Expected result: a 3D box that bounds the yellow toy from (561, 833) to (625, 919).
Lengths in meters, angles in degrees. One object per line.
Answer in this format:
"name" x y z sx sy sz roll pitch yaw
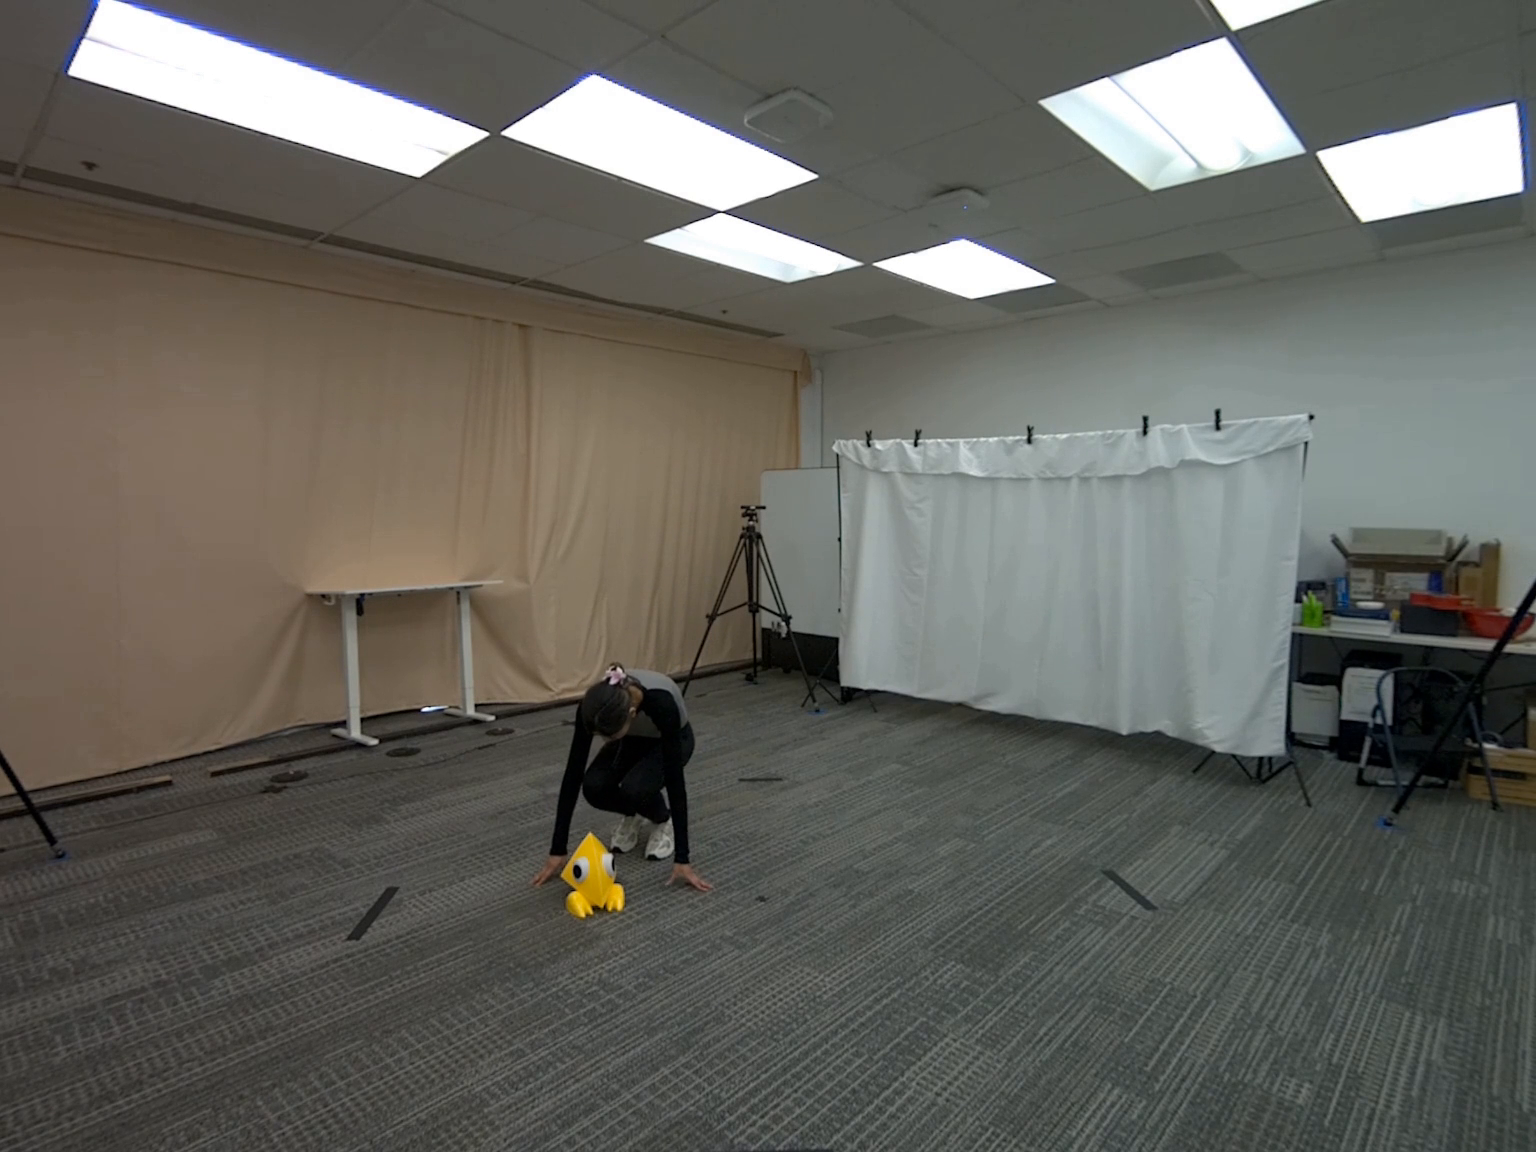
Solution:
"yellow toy" -0.610 1.034 2.956 0.200 0.230 0.198 -2 4 -23
